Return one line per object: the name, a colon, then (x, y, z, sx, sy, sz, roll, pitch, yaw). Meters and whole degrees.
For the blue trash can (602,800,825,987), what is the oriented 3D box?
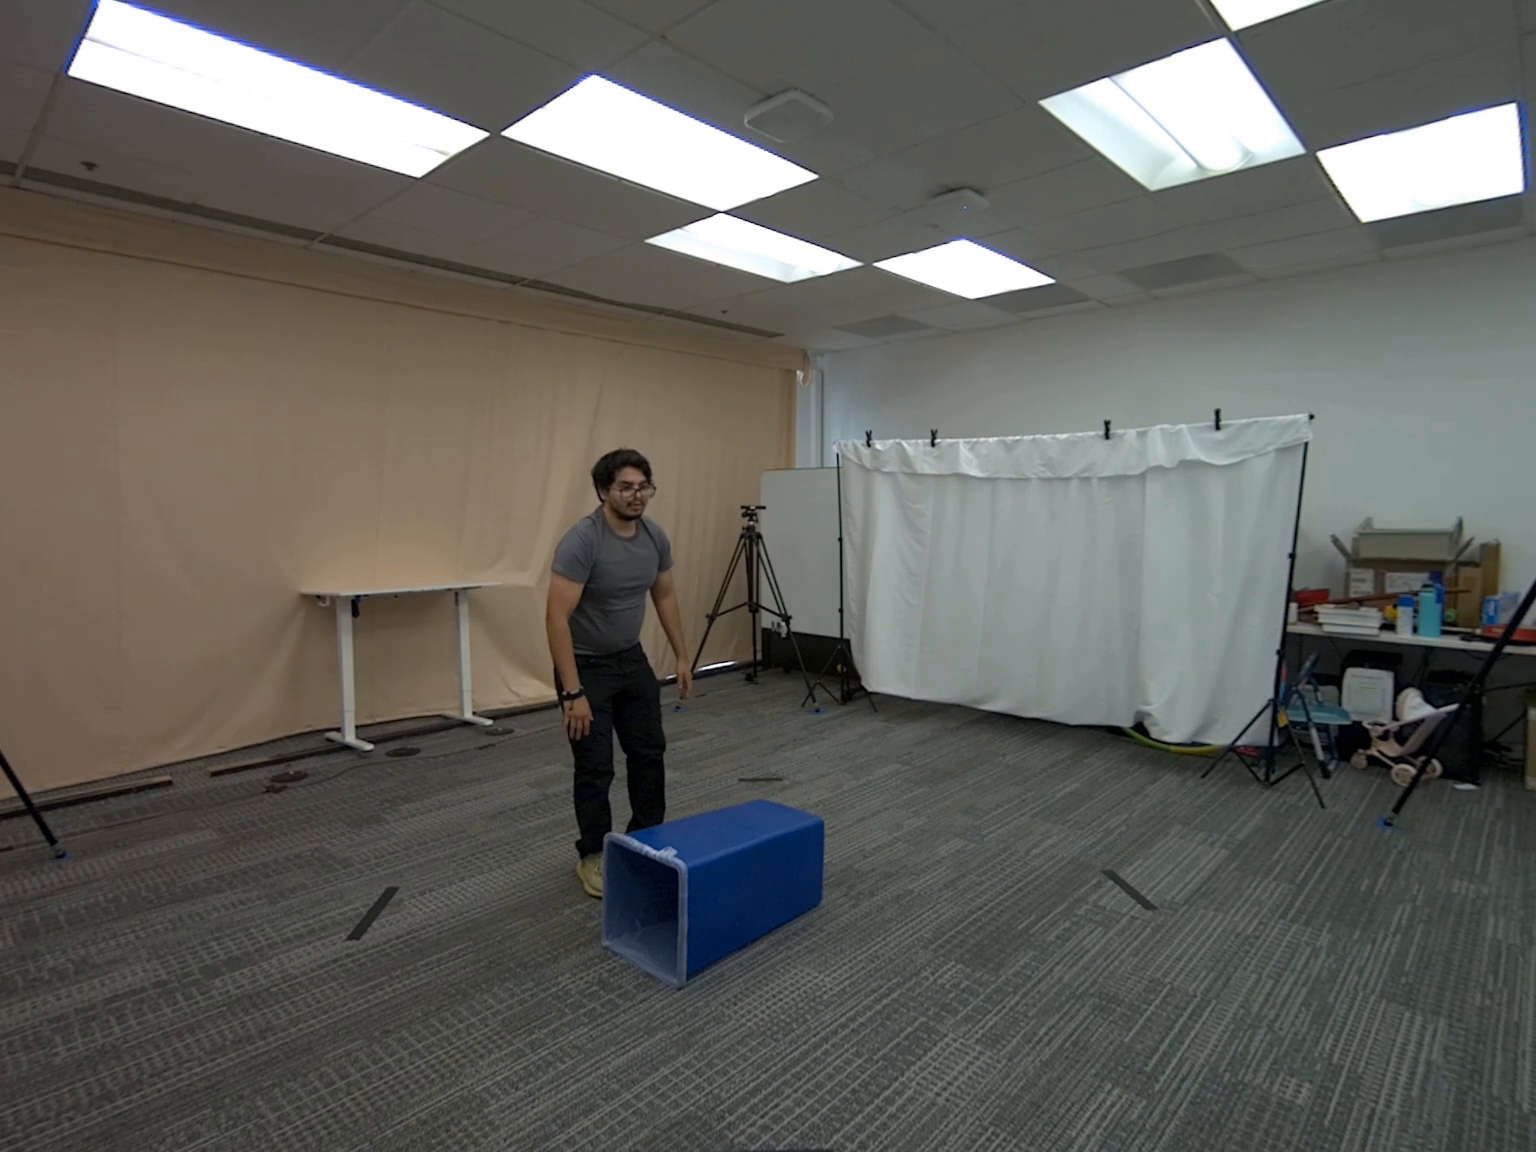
blue trash can: (-0.141, 0.991, 2.781, 0.386, 0.378, 0.691, 2, 3, 44)
